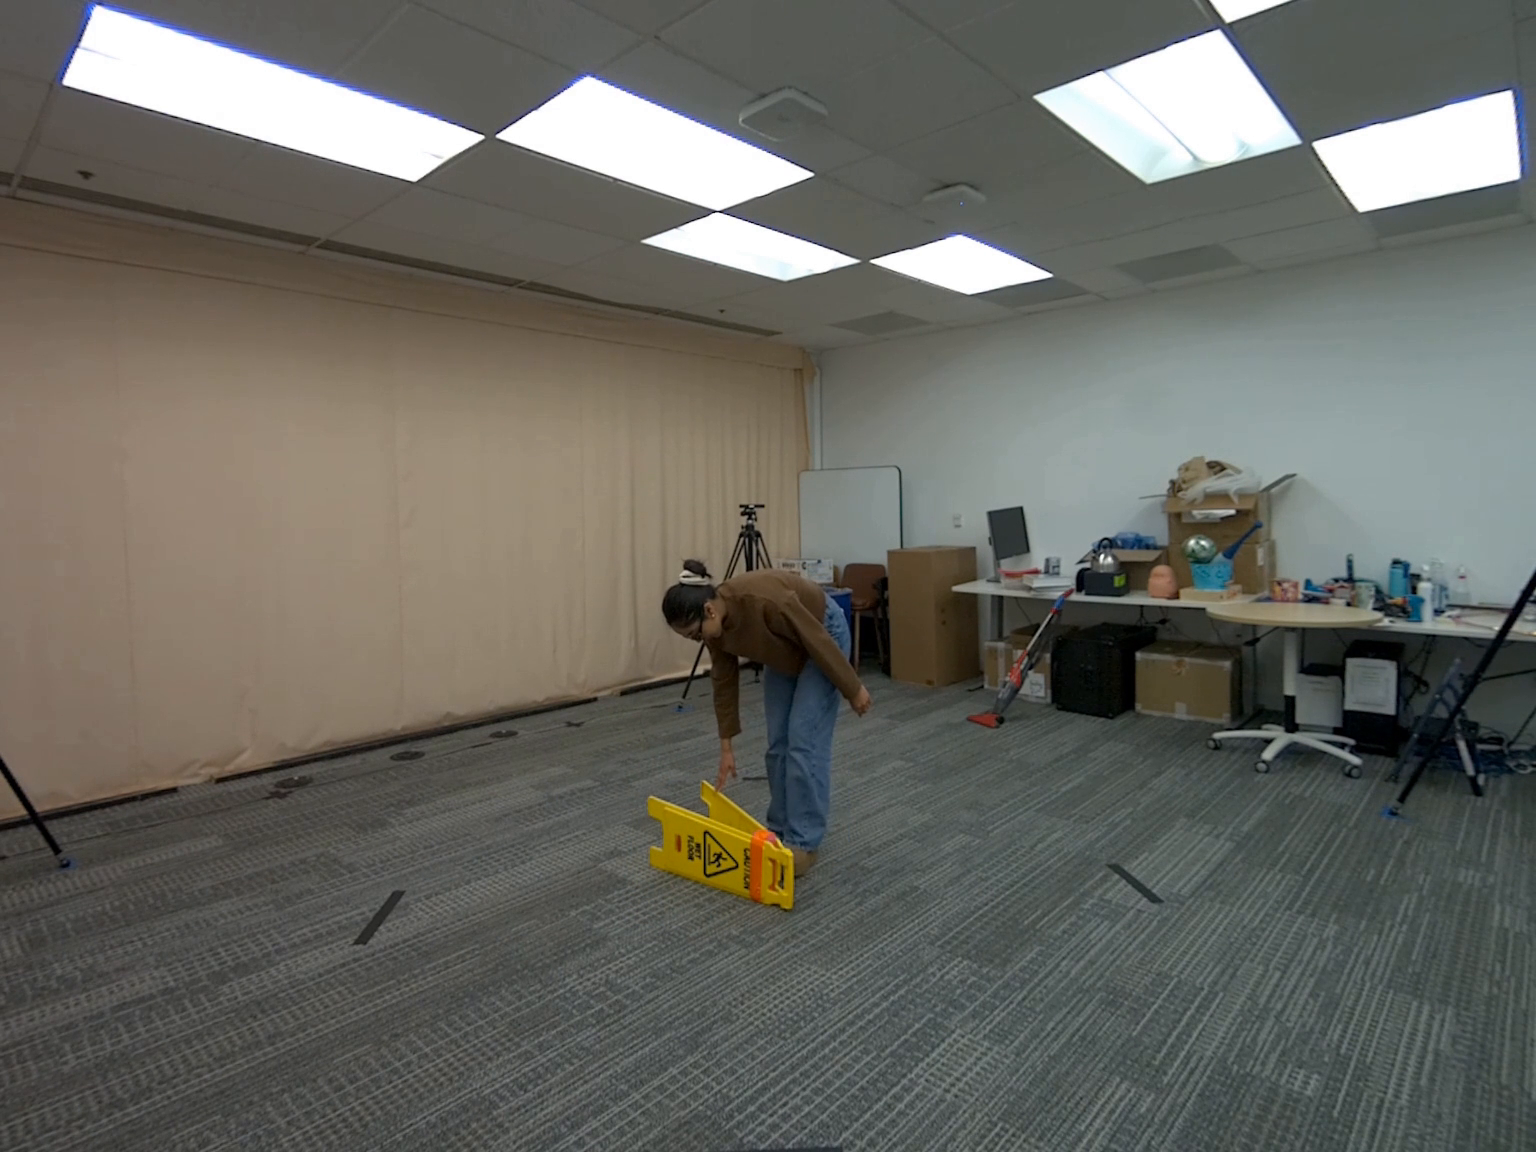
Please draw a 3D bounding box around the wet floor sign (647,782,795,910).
[{"bbox_3d":[-0.135,1.003,3.108,0.281,0.281,0.668,-5,9,-42],"label":"wet floor sign"}]
